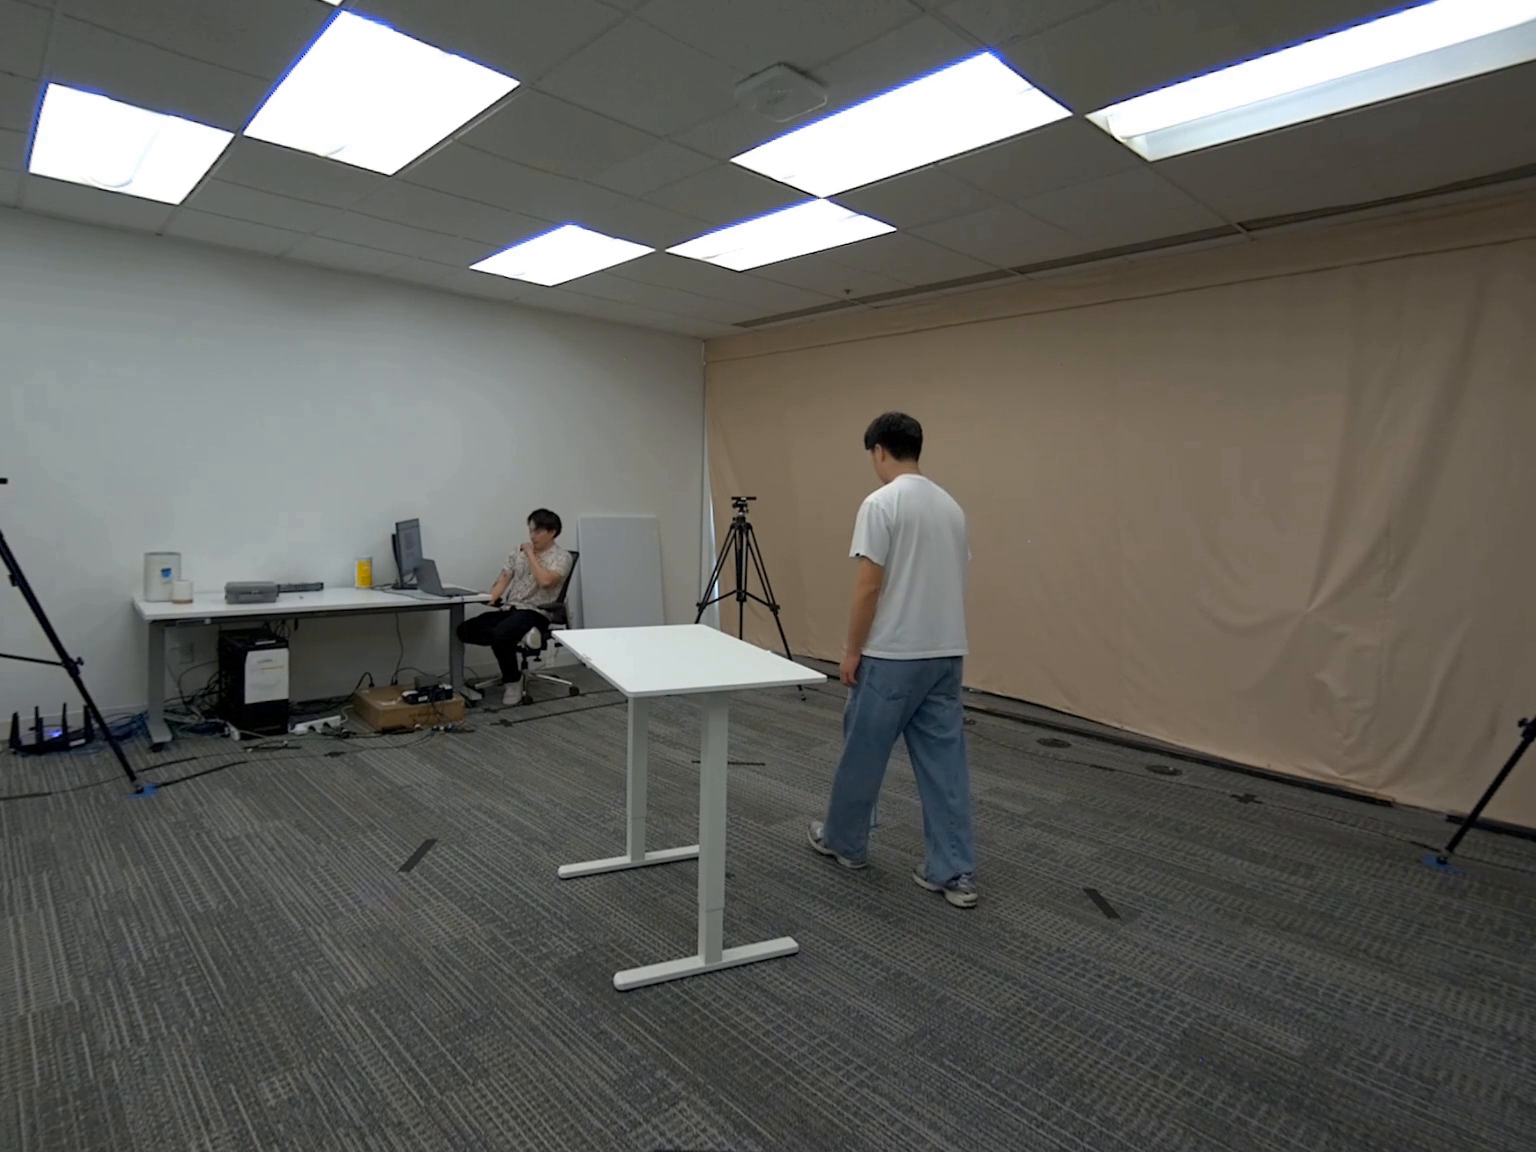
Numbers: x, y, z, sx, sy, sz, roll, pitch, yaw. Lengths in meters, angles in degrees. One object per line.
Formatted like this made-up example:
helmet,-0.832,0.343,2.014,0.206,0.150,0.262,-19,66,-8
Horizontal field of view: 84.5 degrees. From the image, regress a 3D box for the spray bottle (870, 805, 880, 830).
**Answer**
spray bottle,0.435,0.936,3.632,0.085,0.296,0.092,-3,5,-39
